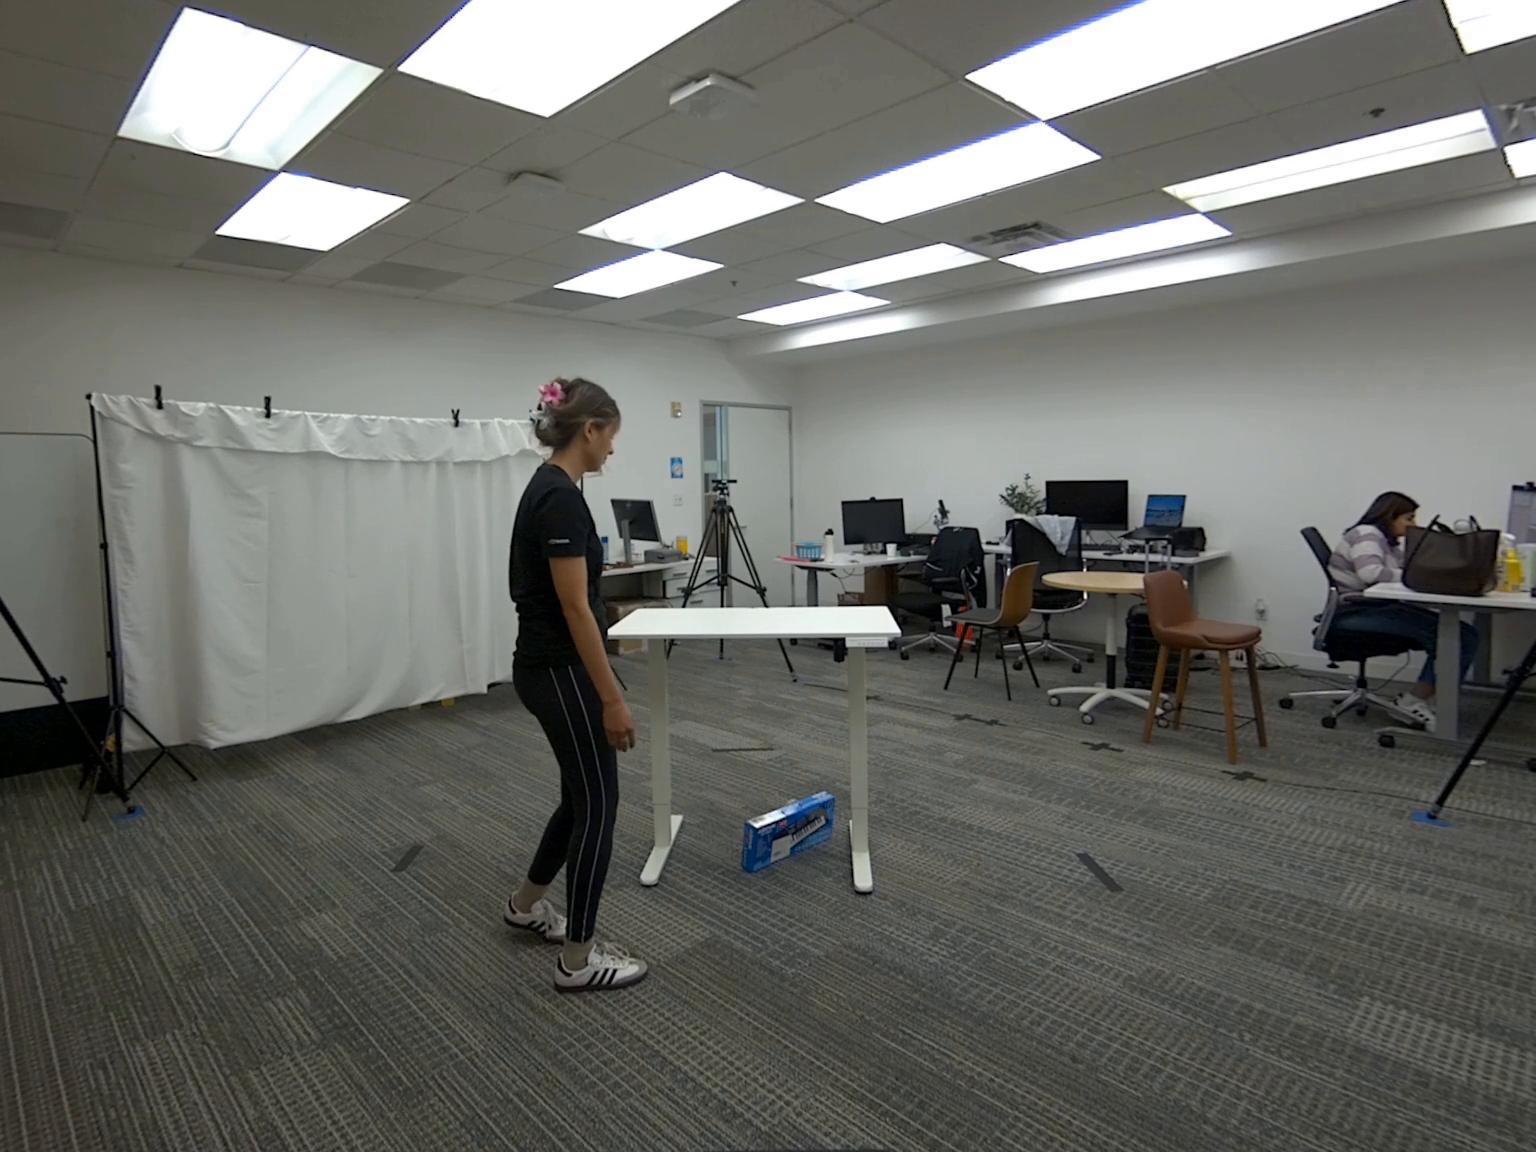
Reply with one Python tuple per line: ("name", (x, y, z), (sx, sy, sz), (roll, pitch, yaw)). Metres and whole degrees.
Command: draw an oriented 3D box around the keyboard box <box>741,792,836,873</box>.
("keyboard box", (0.084, 0.950, 3.186), (0.425, 0.174, 0.061), (-7, 14, -44))
